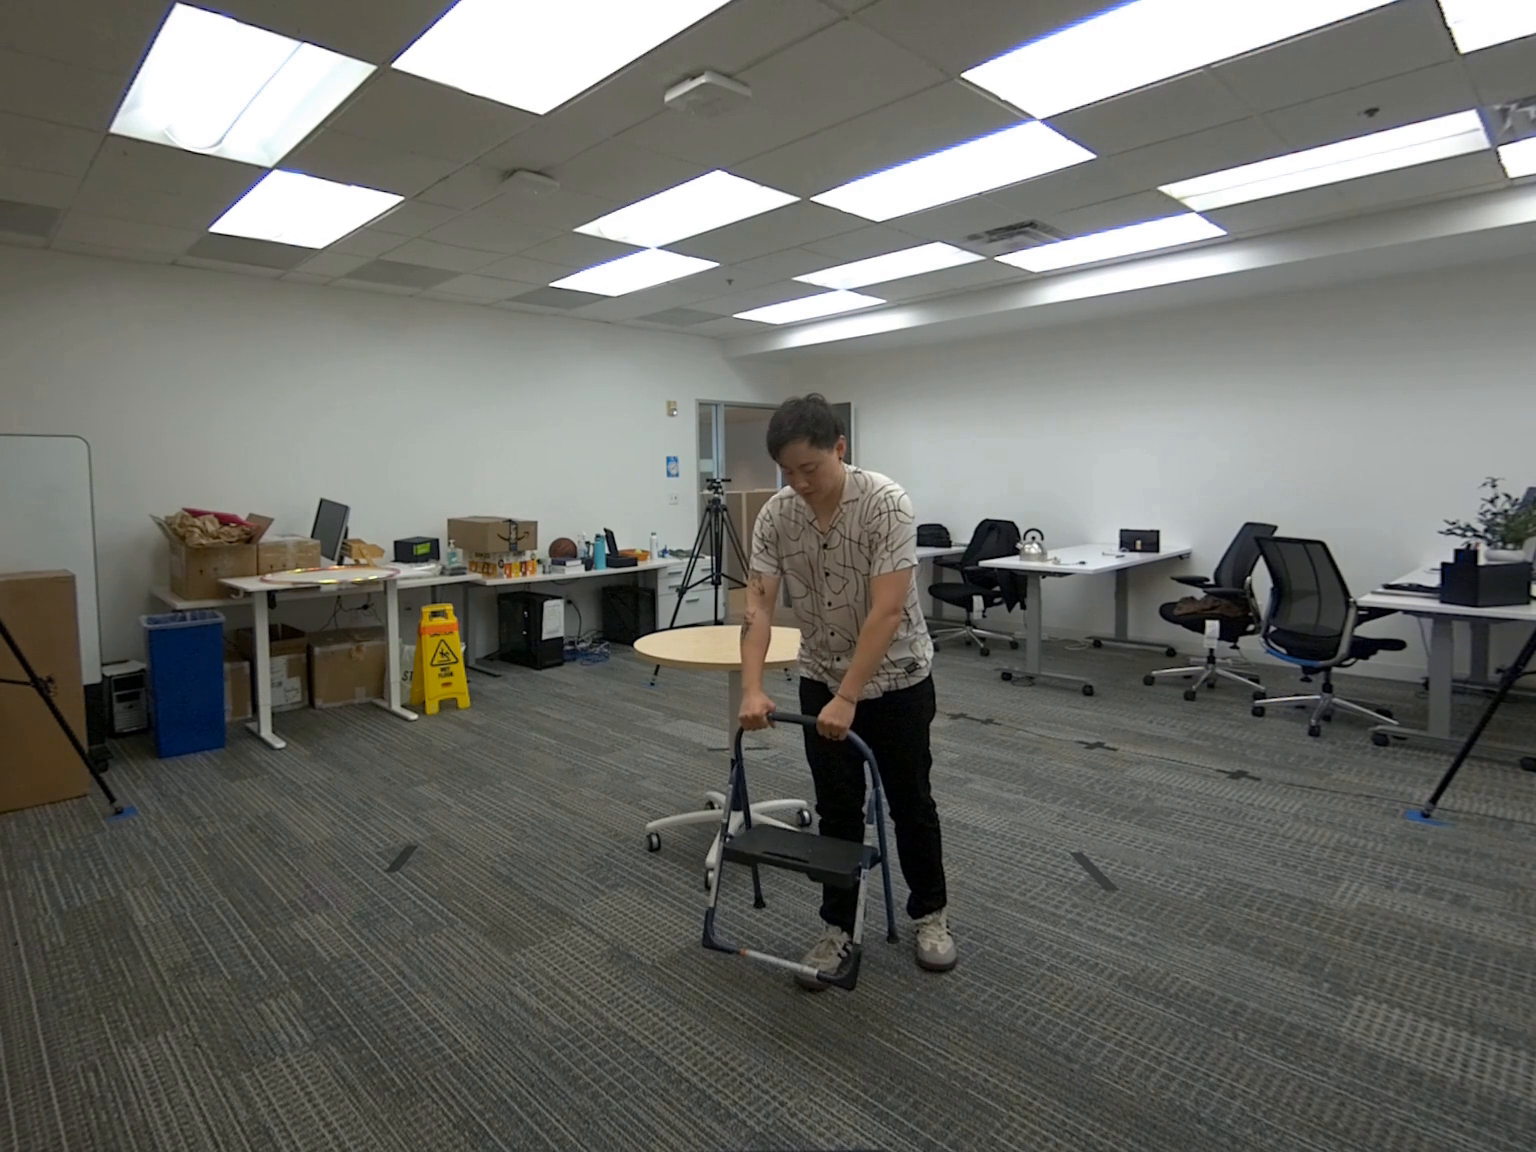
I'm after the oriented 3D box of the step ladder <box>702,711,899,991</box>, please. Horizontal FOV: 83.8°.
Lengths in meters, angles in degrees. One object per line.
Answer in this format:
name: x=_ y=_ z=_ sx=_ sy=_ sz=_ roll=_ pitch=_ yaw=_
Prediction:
step ladder: x=0.103 y=0.665 z=2.242 sx=0.441 sy=0.607 sz=0.340 roll=2 pitch=-1 yaw=28
